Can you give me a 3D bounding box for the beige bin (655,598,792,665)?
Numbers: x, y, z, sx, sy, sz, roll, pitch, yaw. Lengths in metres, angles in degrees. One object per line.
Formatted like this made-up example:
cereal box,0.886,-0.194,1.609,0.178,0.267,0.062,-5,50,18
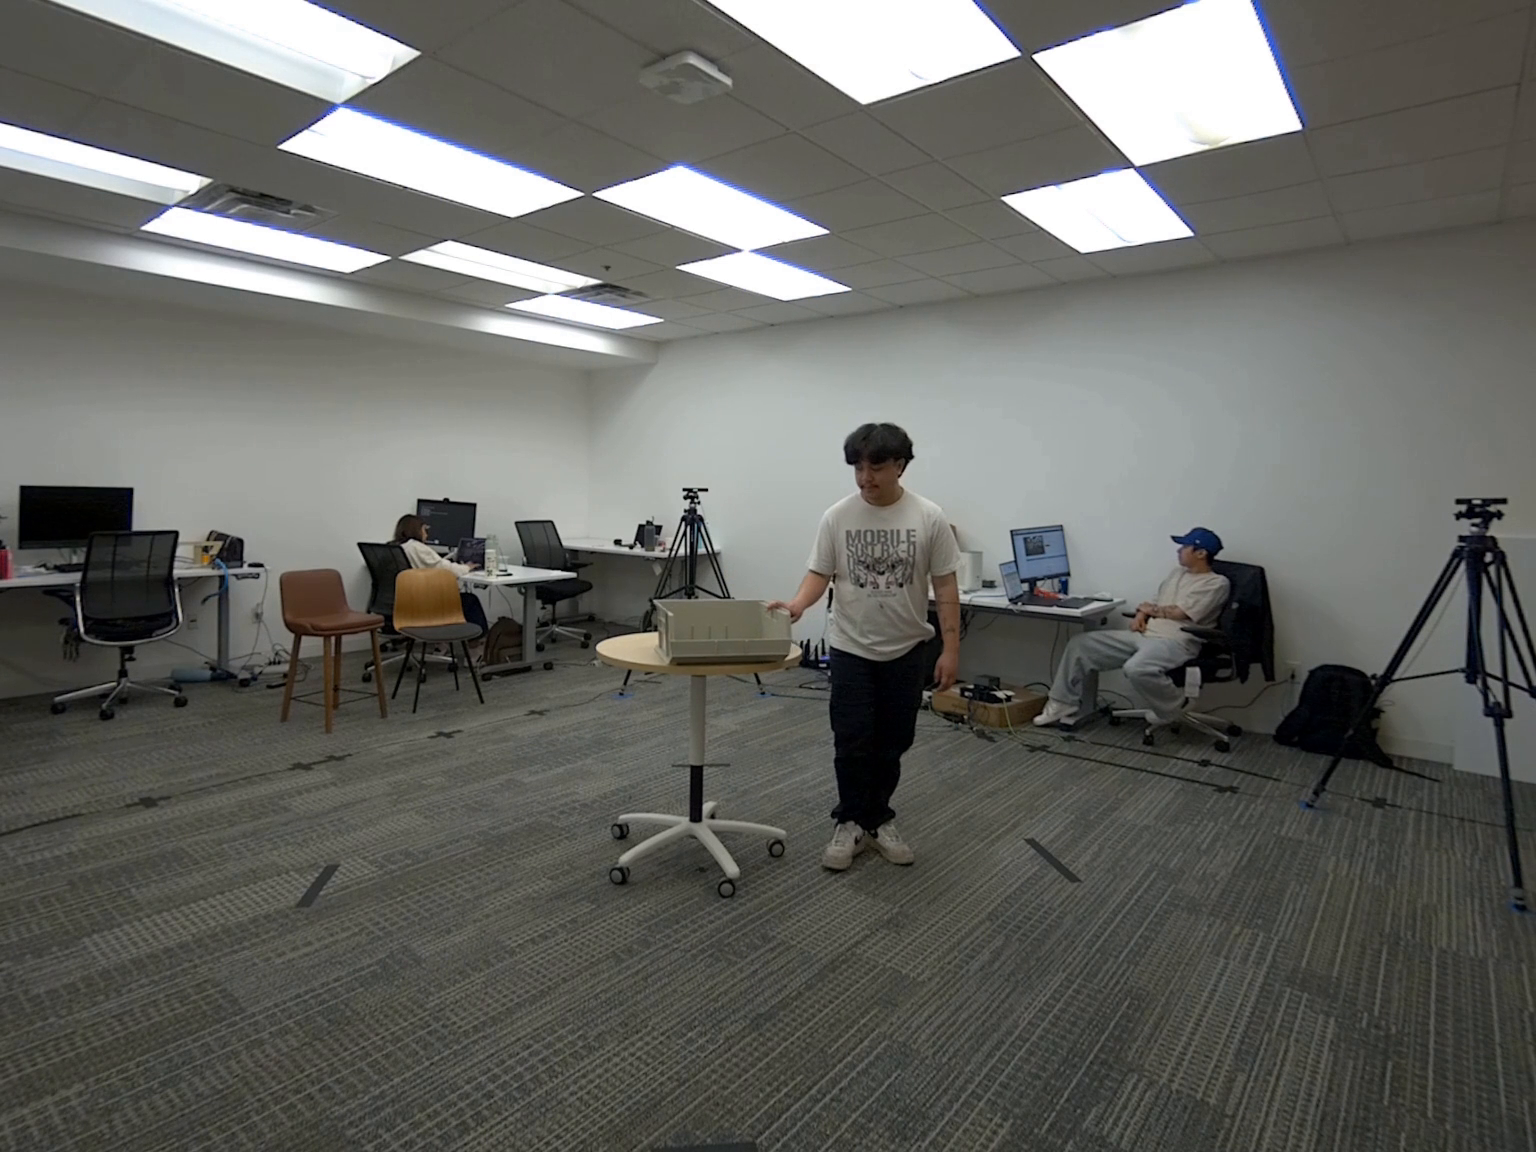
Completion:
beige bin,-0.175,0.192,2.986,0.416,0.188,0.384,0,3,-14
